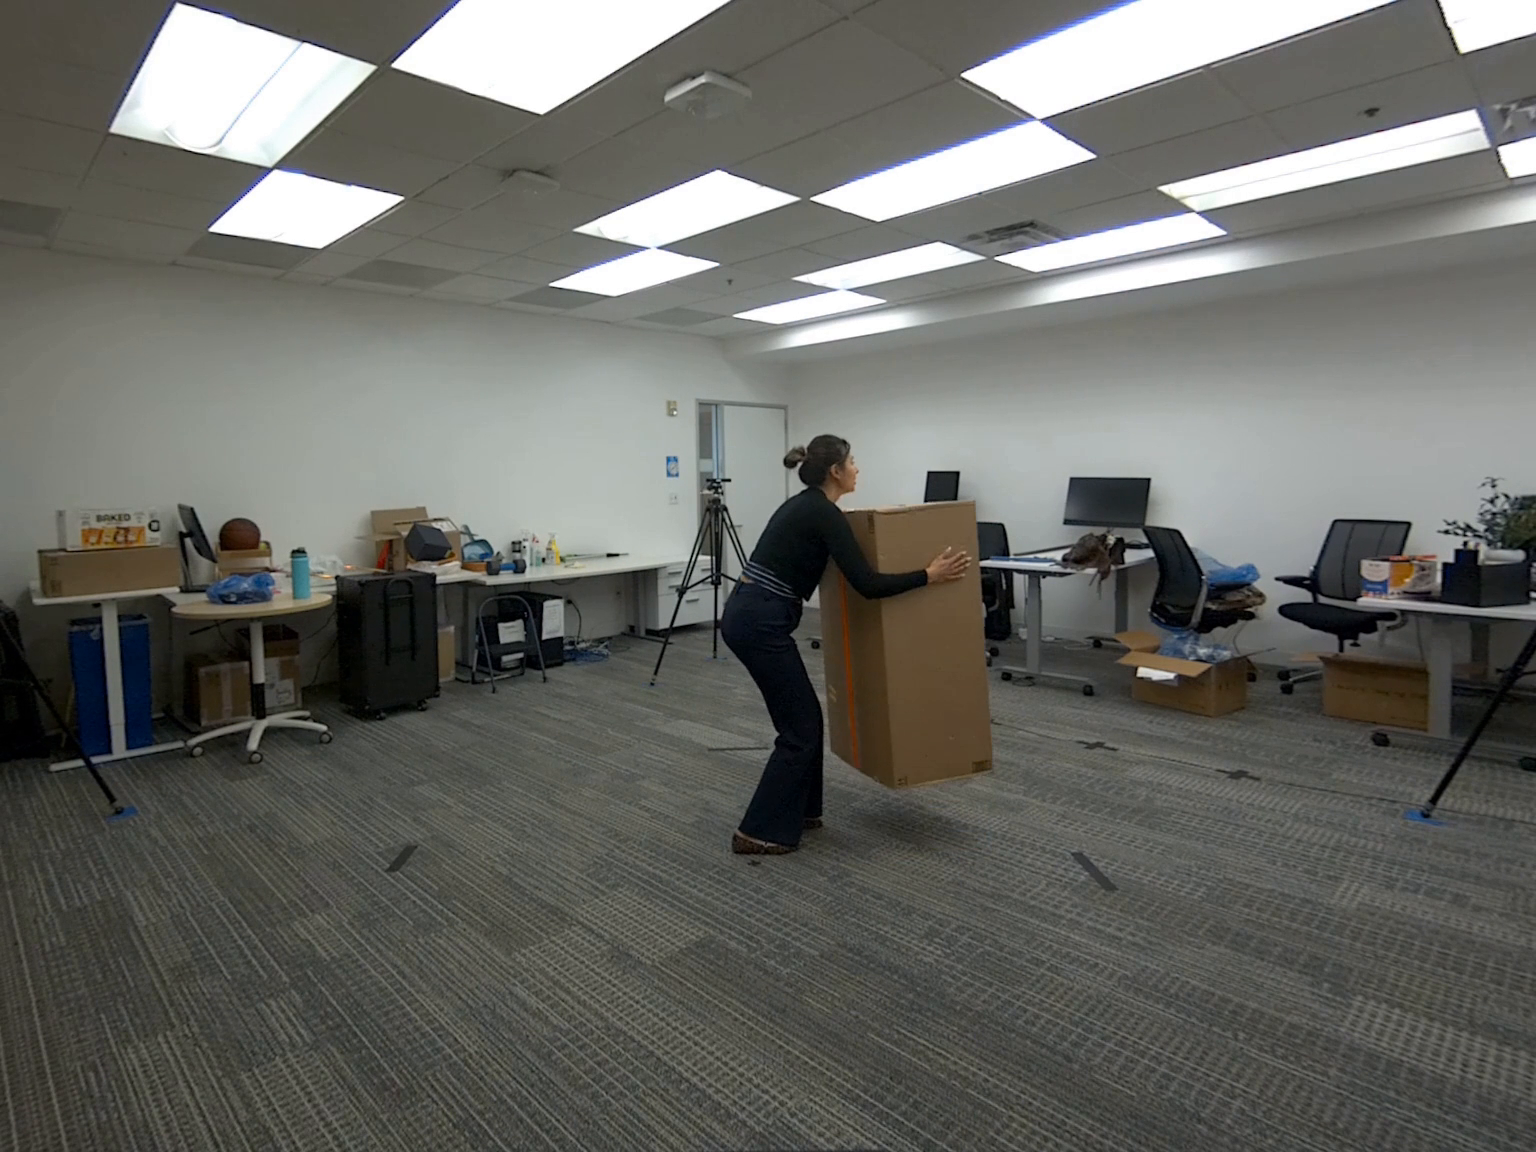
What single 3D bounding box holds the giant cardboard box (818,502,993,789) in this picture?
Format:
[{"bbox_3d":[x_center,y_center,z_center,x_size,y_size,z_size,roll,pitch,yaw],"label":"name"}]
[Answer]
[{"bbox_3d":[0.516,0.243,3.398,0.420,1.023,0.587,-5,3,-17],"label":"giant cardboard box"}]
